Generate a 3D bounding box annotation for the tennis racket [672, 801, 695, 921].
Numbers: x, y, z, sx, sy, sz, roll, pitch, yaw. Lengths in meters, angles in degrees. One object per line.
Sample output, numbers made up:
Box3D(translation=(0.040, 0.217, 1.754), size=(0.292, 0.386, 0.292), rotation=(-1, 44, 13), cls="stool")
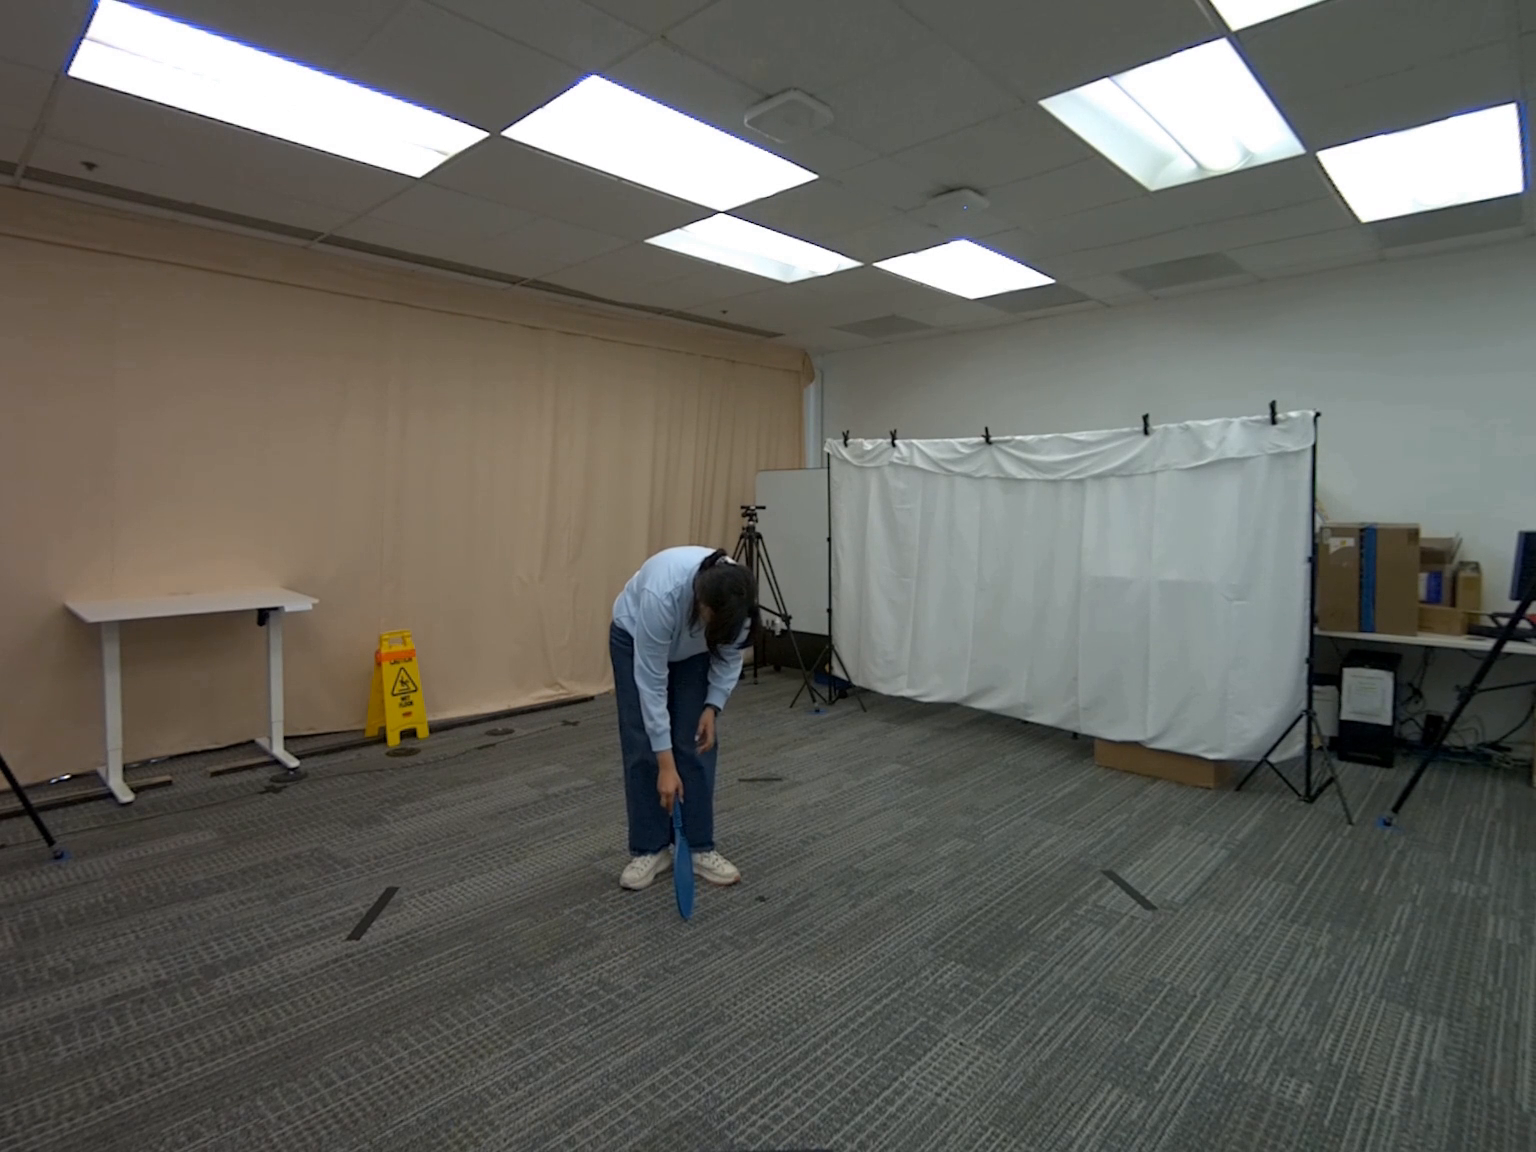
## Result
Box3D(translation=(-0.292, 0.937, 2.849), size=(0.032, 0.431, 0.212), rotation=(-5, 5, 7), cls="tennis racket")
